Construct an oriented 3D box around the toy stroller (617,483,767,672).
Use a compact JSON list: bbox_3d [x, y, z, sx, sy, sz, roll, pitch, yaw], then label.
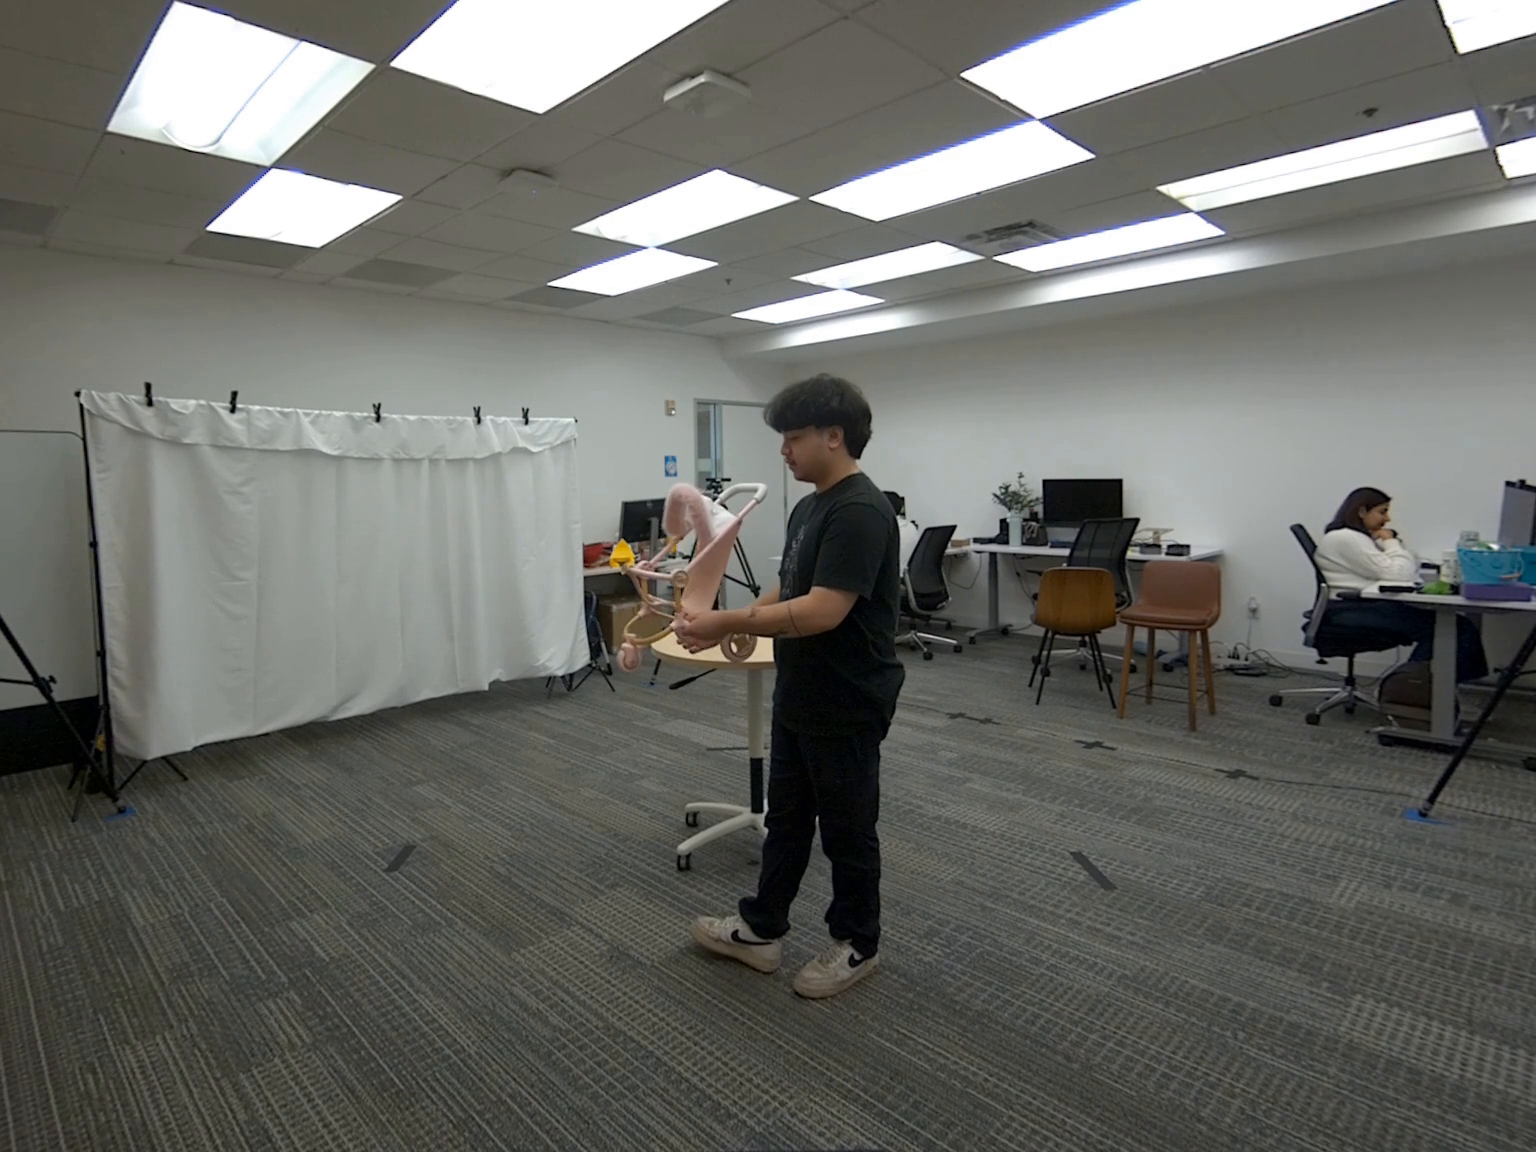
[{"bbox_3d":[-0.211,-0.003,2.249,0.332,0.534,0.289,7,3,-28],"label":"toy stroller"}]
